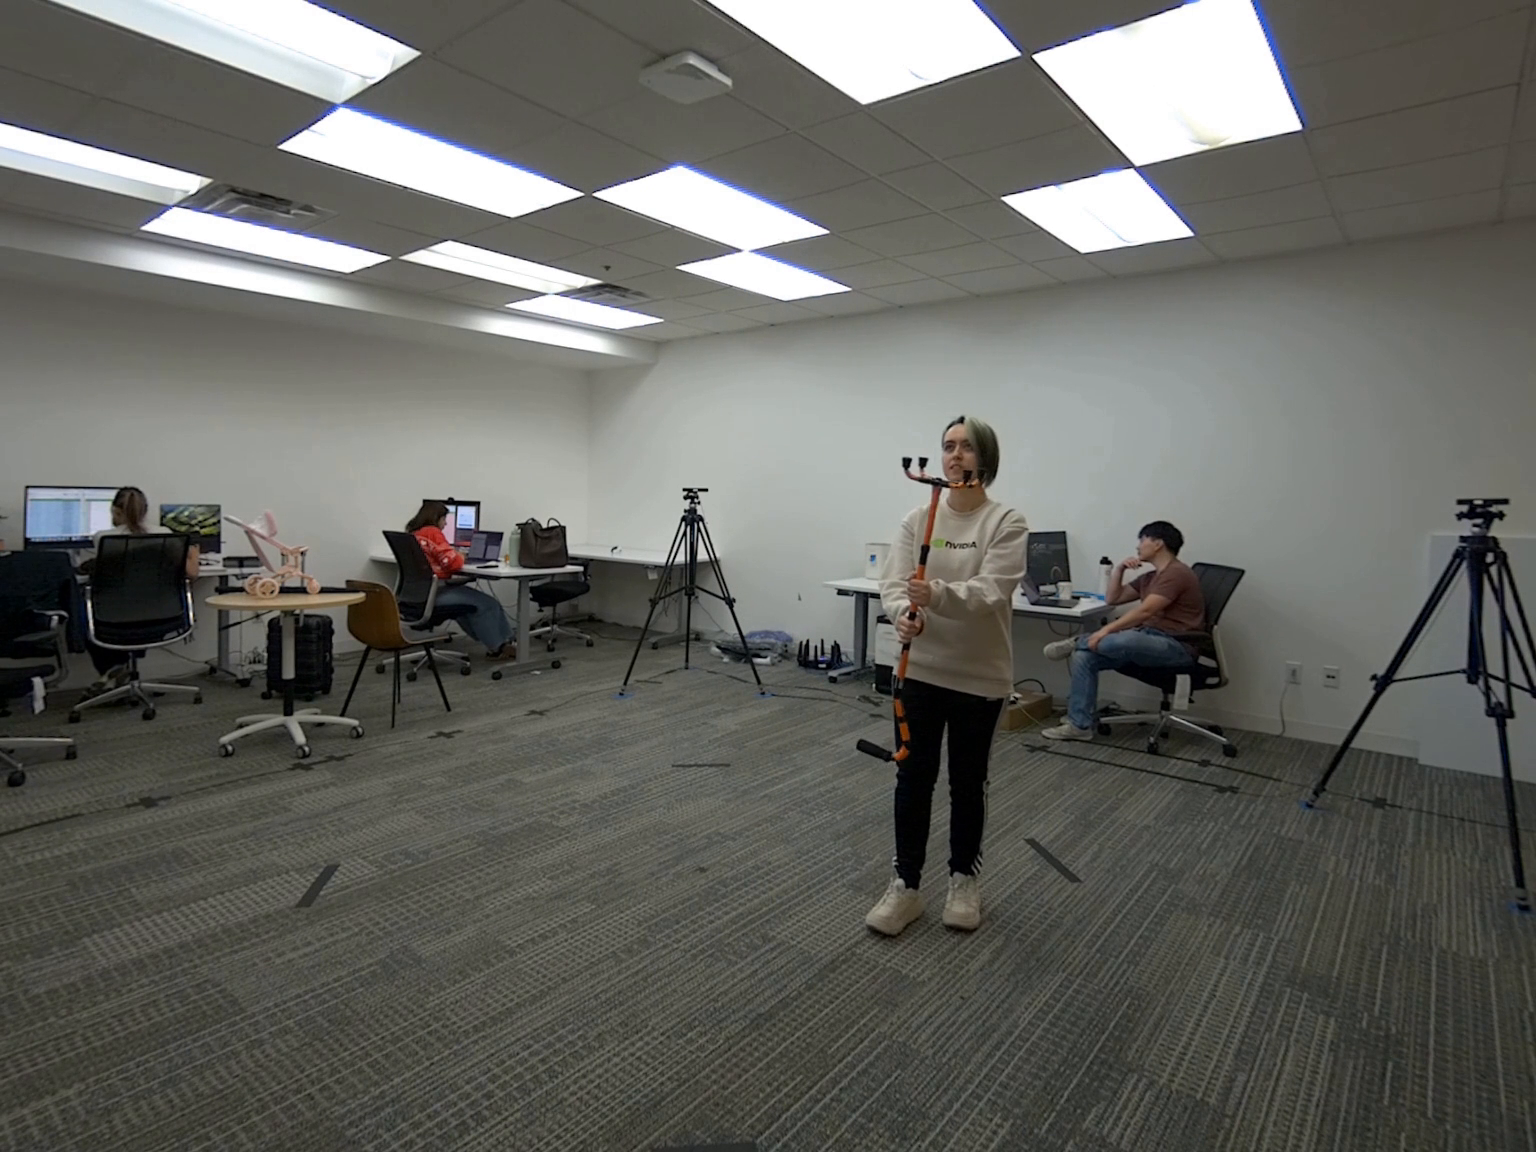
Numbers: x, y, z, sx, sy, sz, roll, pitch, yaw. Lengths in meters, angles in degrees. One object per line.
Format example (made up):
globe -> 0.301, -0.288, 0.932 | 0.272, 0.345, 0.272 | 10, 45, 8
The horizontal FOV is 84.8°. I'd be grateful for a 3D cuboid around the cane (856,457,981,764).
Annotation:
cane -> 0.433, 0.117, 2.487 | 0.214, 0.900, 0.147 | 16, 13, 32
